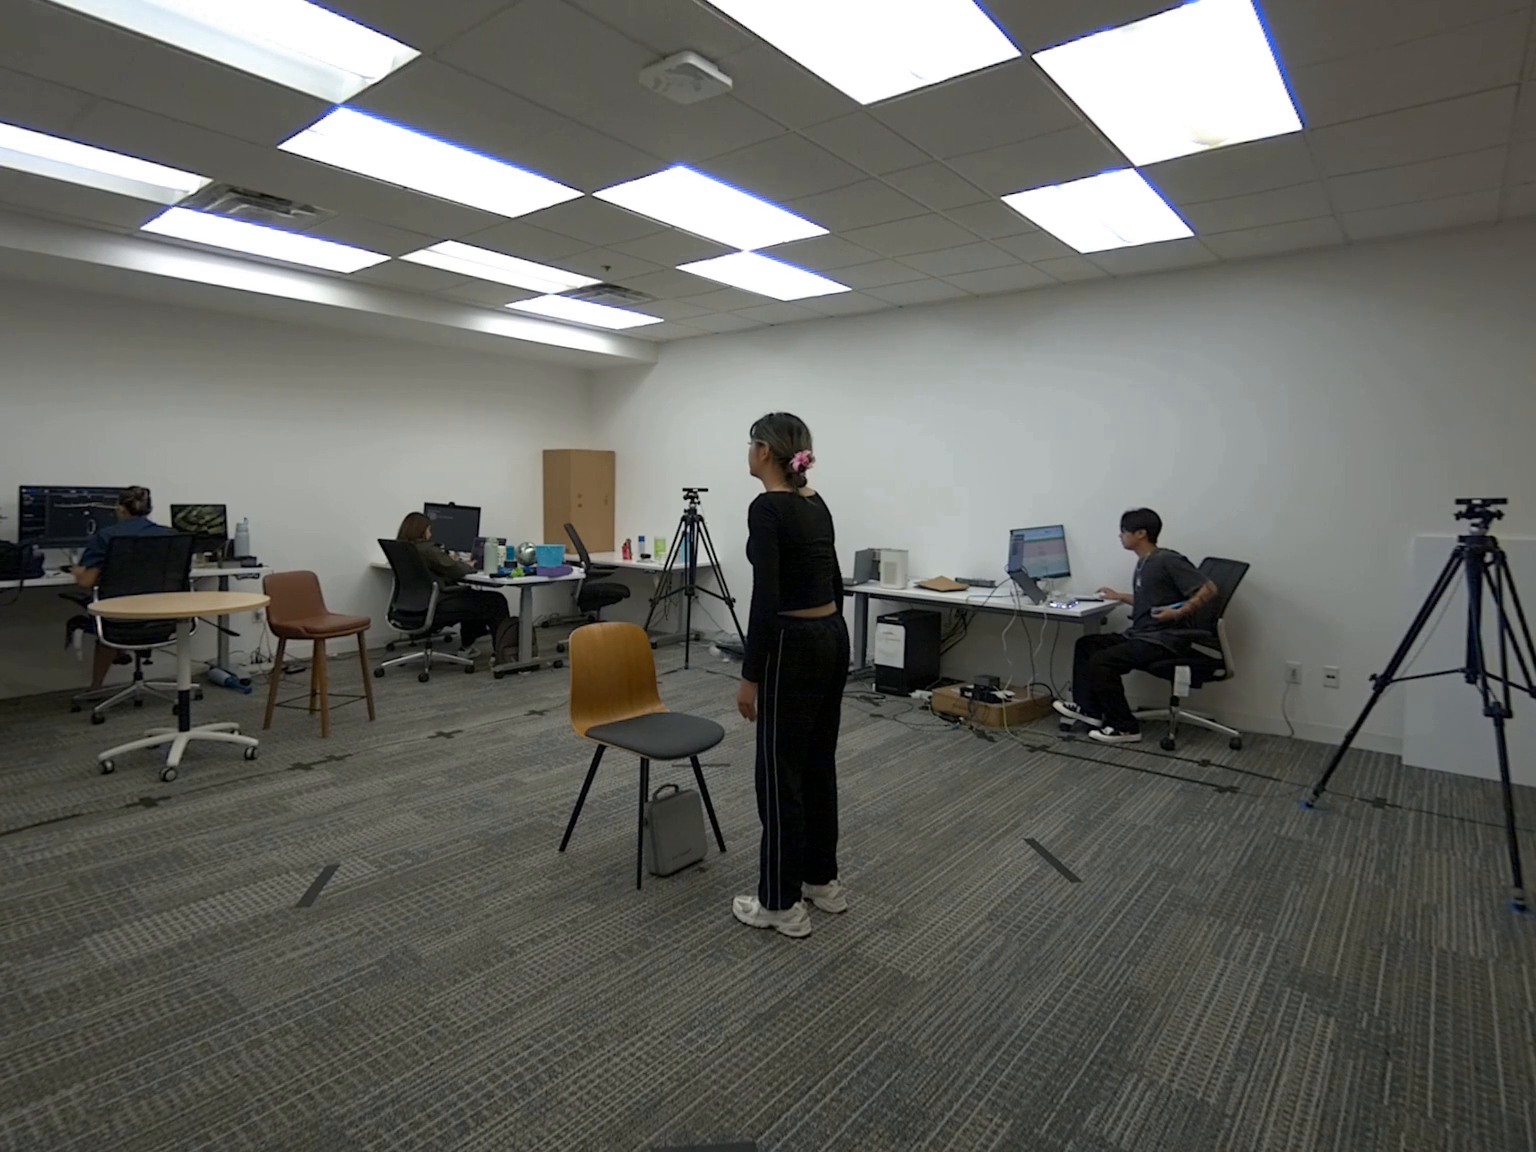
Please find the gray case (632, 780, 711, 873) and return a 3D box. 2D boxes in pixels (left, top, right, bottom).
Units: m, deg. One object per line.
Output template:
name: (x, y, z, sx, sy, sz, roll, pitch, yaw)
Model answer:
gray case: (-0.359, 0.926, 3.142, 0.107, 0.262, 0.249, -14, -7, 39)
